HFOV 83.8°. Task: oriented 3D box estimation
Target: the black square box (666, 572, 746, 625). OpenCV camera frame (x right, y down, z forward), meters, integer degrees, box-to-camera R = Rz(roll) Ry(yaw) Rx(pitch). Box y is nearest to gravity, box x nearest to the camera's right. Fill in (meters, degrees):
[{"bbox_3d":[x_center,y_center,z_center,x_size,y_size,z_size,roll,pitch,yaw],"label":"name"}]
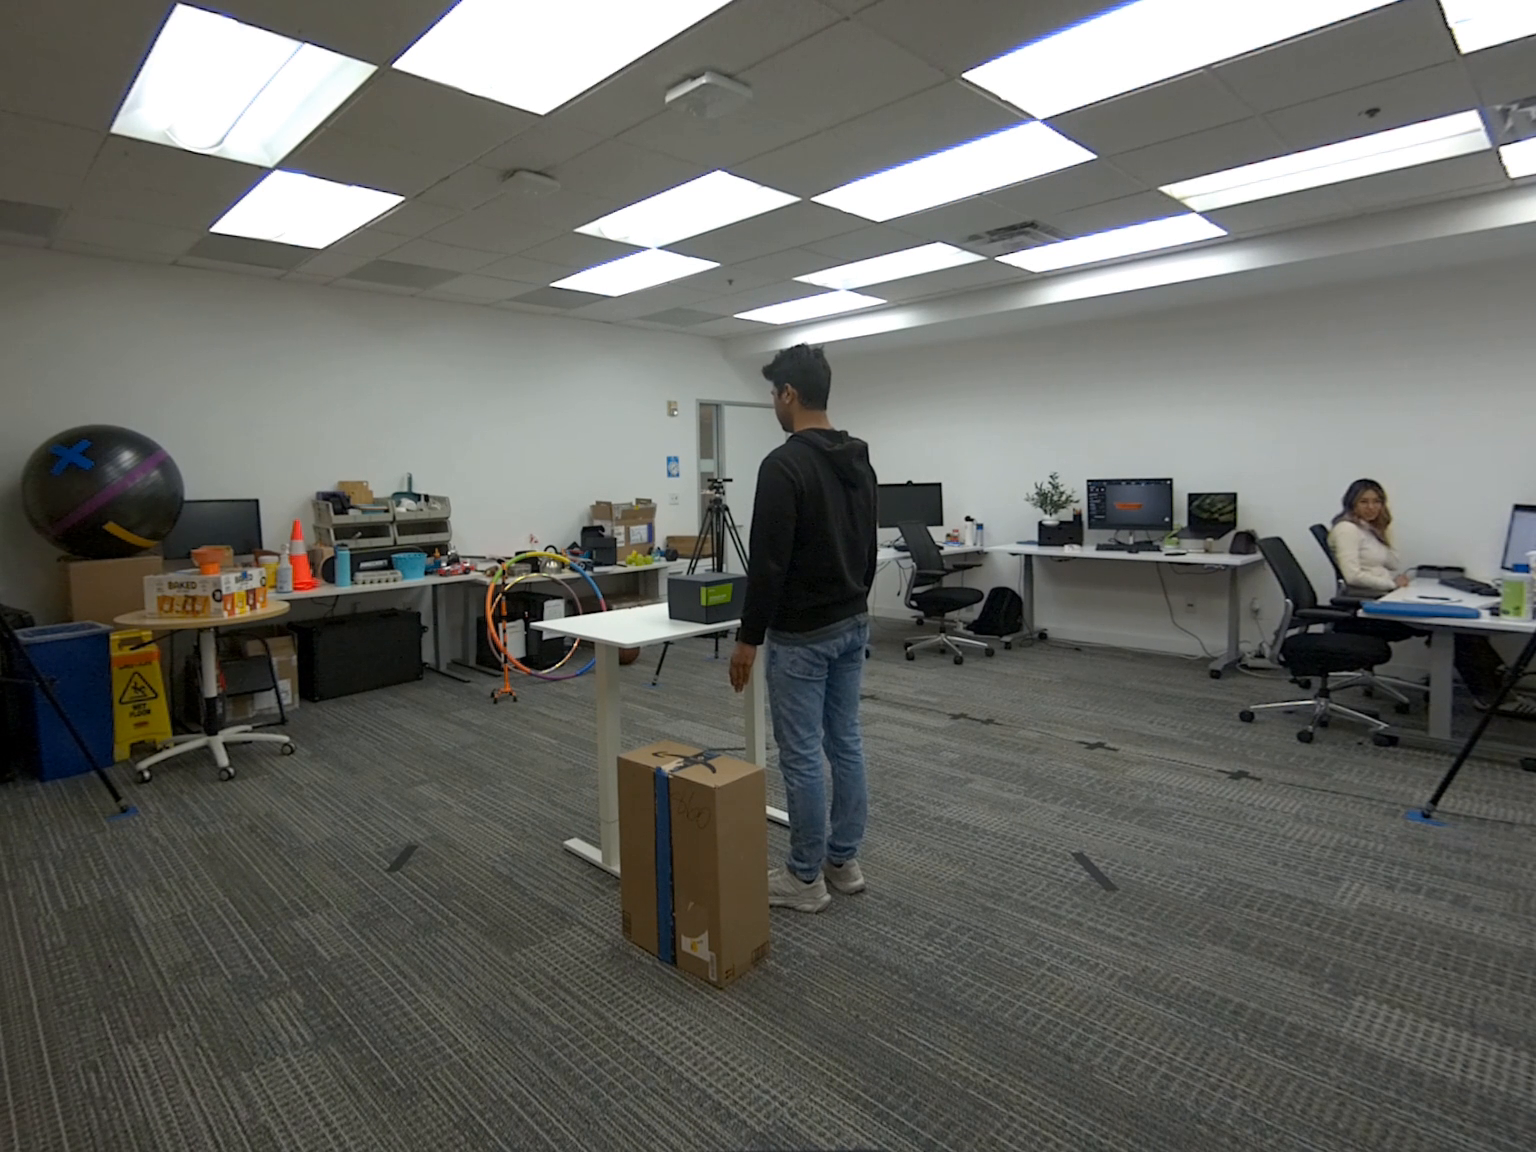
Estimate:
[{"bbox_3d":[-0.213,0.077,3.168,0.224,0.155,0.222,4,8,44],"label":"black square box"}]
